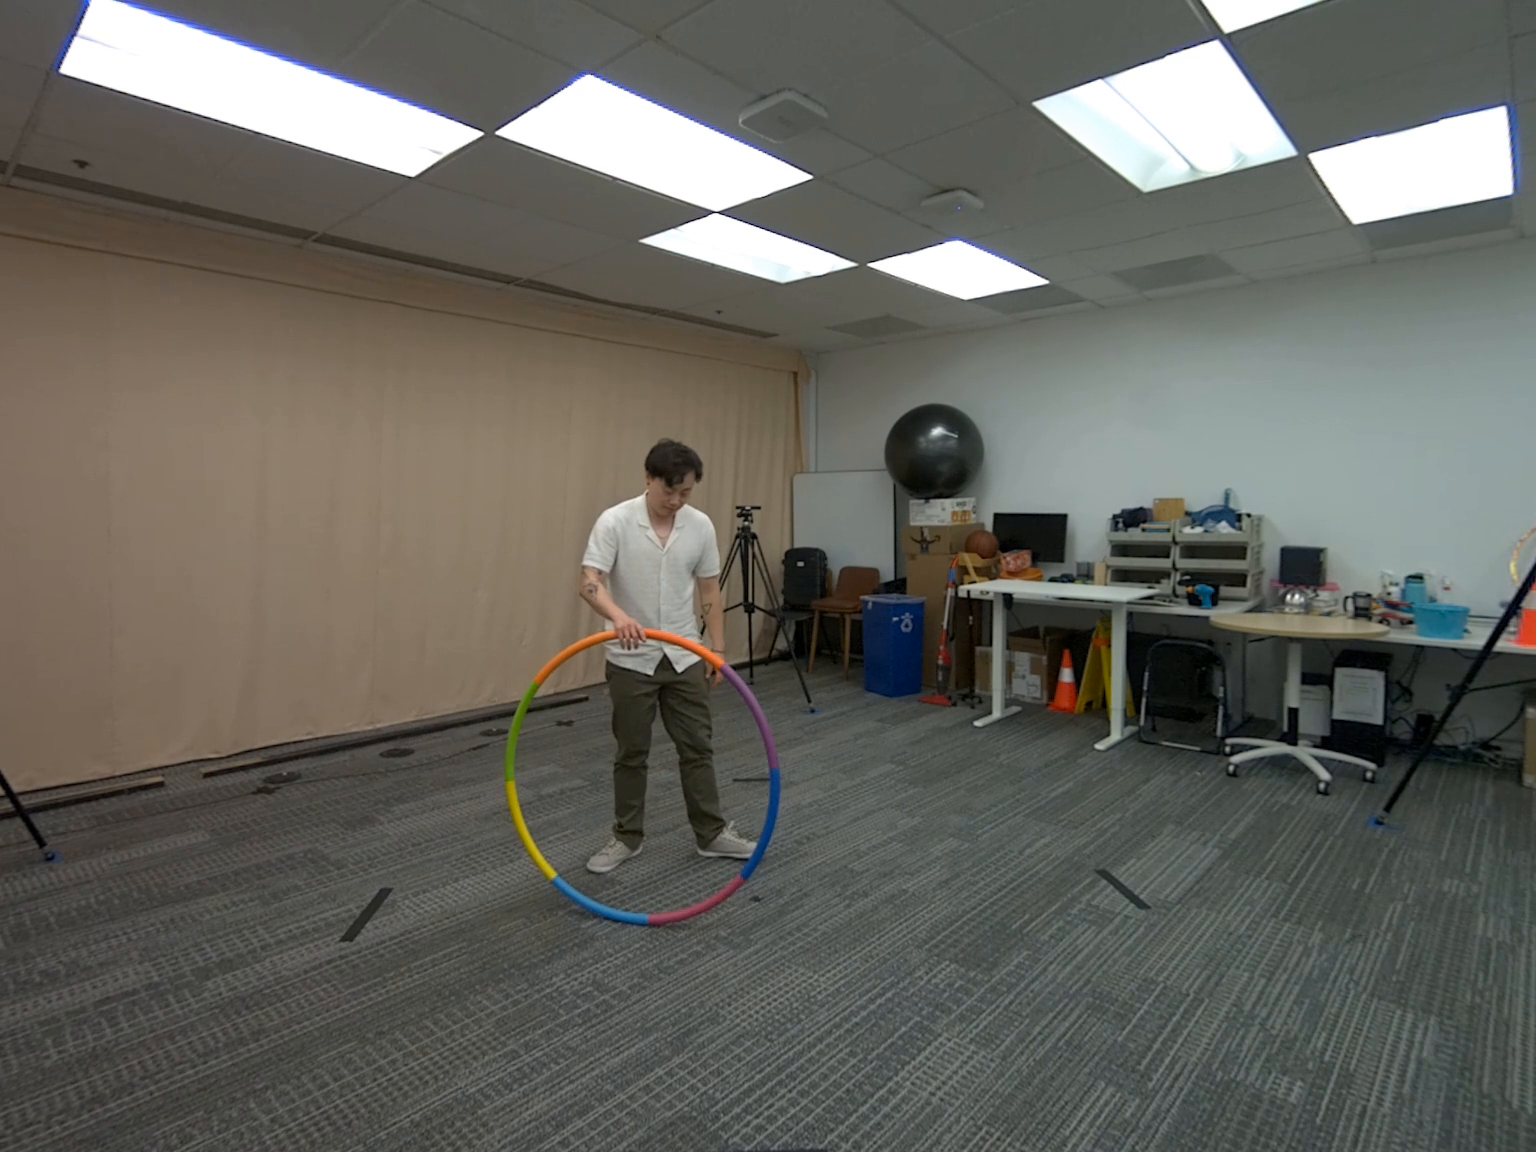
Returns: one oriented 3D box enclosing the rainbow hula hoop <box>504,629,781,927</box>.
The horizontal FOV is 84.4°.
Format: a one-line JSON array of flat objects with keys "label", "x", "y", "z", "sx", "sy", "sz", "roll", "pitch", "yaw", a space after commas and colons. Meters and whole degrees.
[{"label": "rainbow hula hoop", "x": -0.444, "y": 0.671, "z": 2.843, "sx": 0.995, "sy": 0.980, "sz": 0.035, "roll": 1, "pitch": -2, "yaw": 15}]
